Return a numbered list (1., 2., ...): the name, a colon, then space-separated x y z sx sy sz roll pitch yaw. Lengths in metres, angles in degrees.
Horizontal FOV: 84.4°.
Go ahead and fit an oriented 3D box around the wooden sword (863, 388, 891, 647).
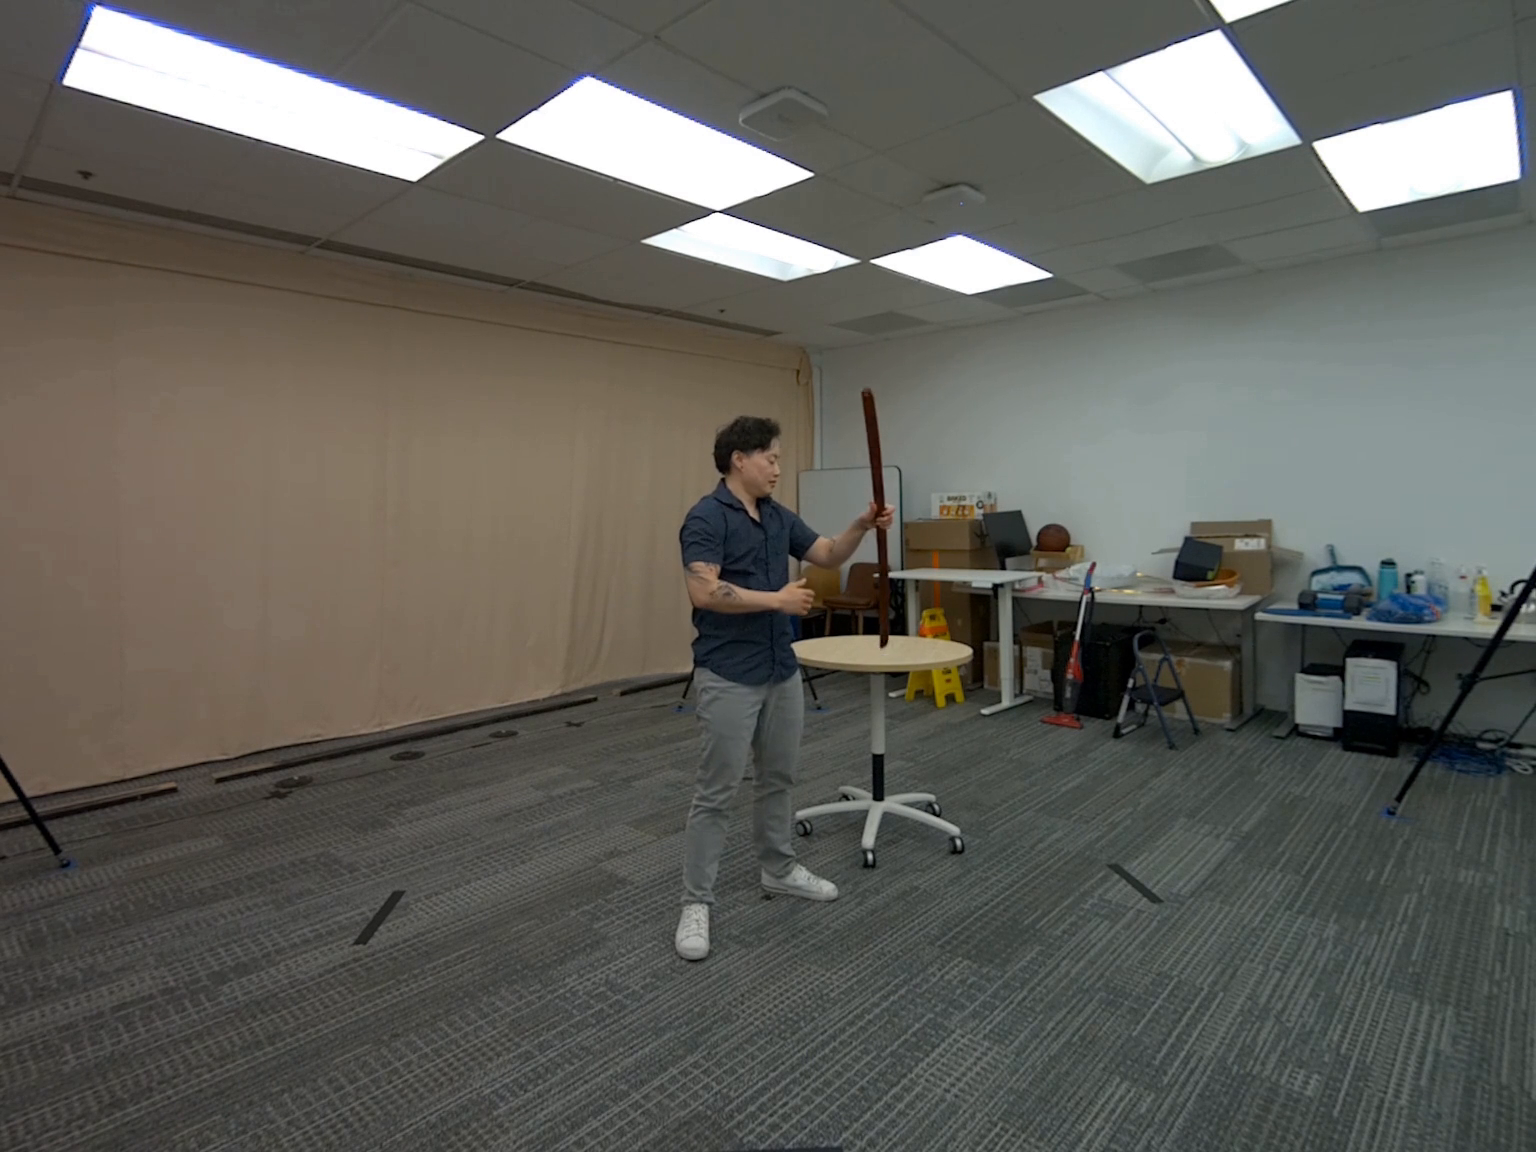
1. wooden sword: 0.369 -0.137 2.717 0.024 1.003 0.053 -17 35 -15
